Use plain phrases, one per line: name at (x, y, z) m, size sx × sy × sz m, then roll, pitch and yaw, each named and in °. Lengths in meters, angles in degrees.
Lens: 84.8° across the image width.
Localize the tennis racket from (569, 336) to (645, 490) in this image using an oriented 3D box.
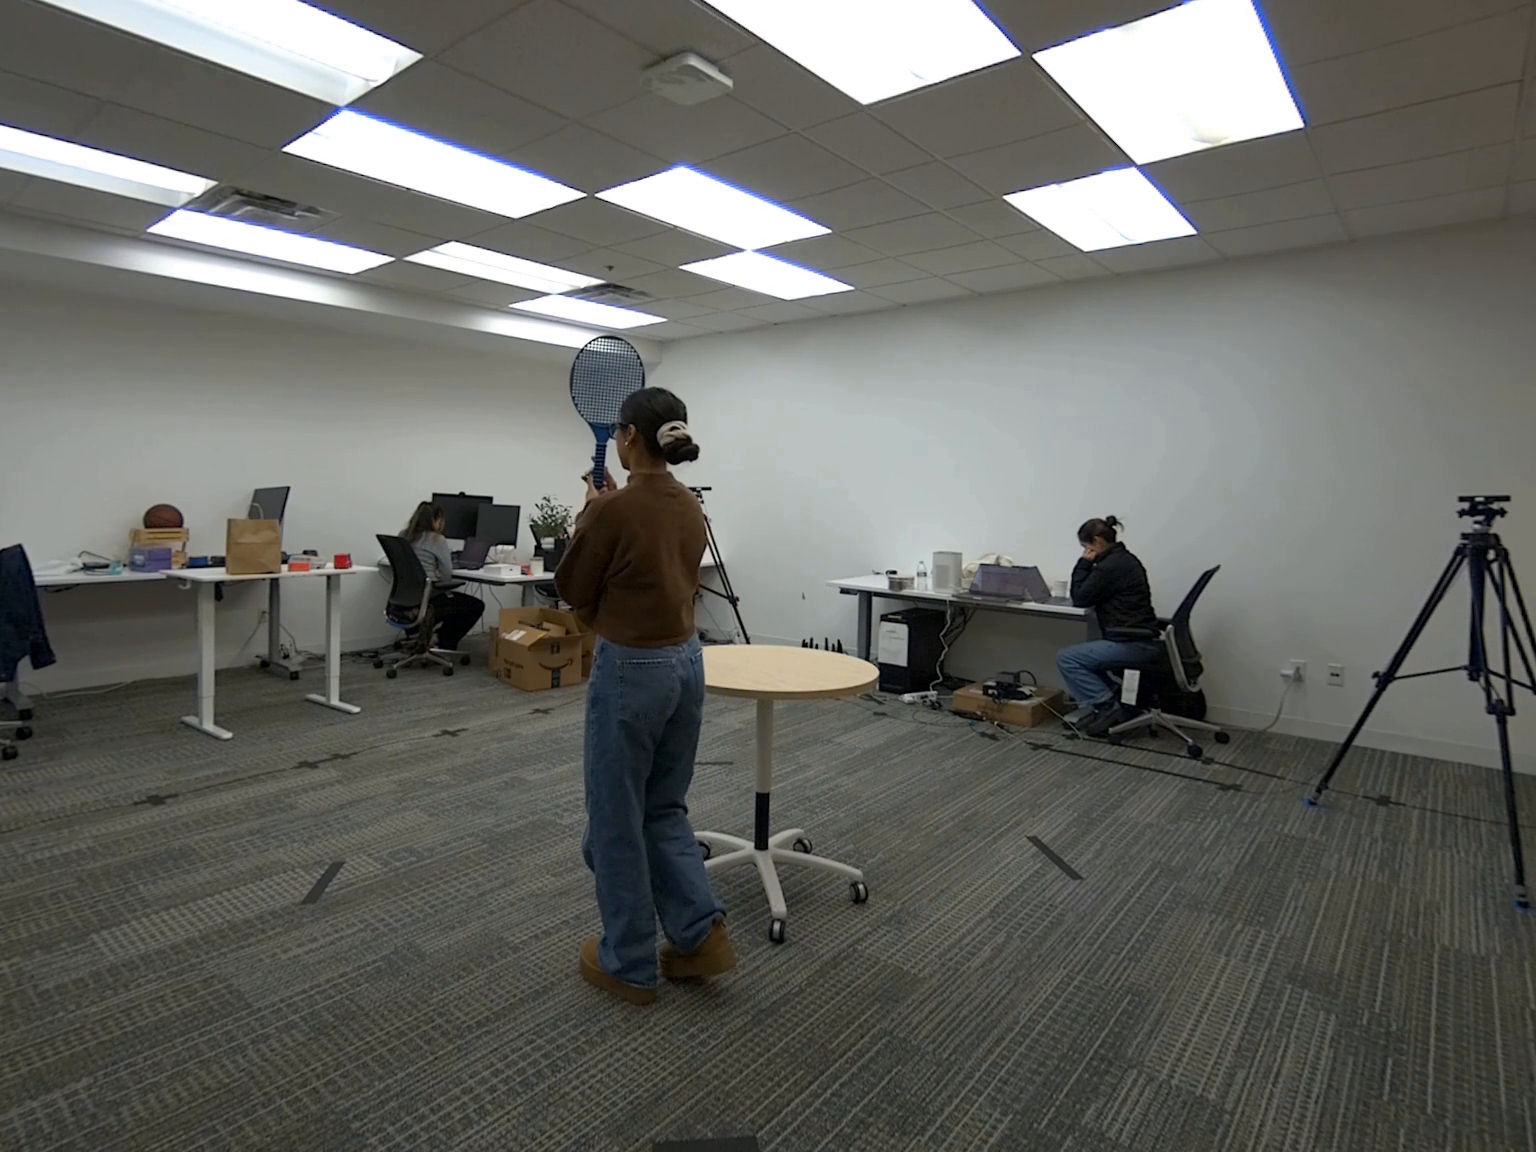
tennis racket at (-0.471, -0.473, 2.419) m, size 0.213 × 0.434 × 0.032 m, roll -1°, pitch -2°, yaw -4°
